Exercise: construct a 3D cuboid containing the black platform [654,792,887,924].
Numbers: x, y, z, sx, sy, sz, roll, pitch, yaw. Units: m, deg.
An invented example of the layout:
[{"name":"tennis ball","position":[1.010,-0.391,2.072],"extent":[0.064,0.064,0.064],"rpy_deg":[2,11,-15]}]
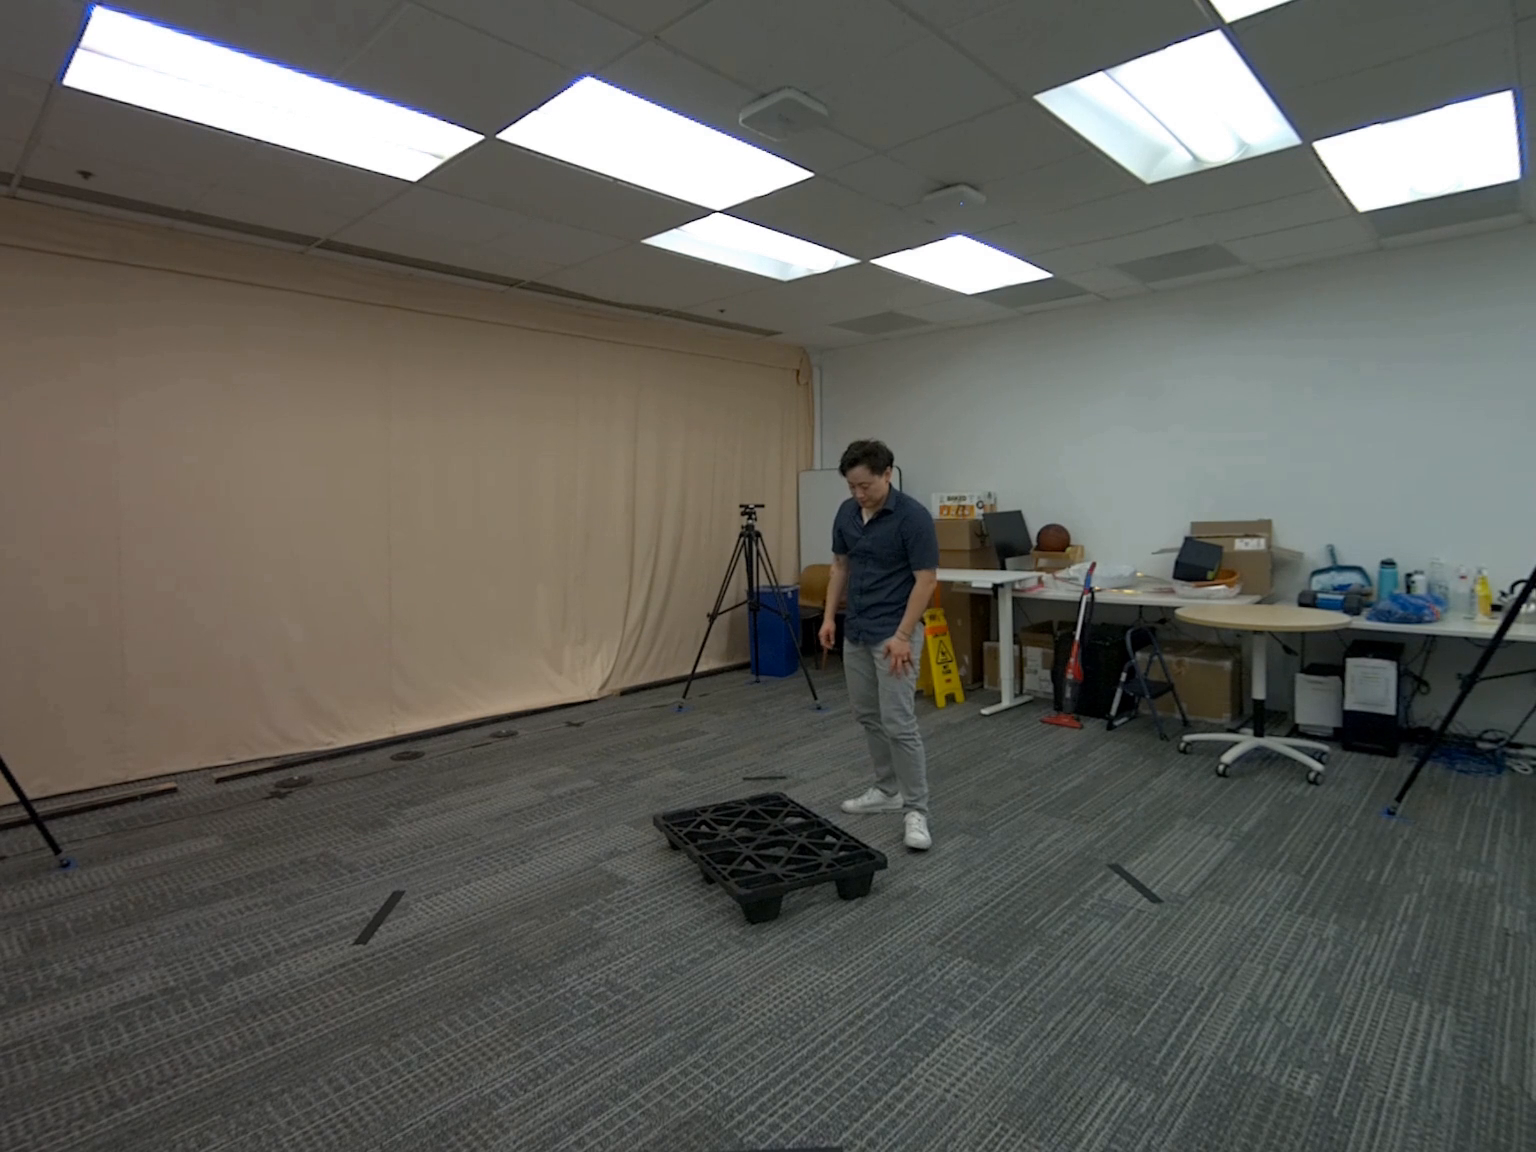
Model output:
[{"name":"black platform","position":[-0.017,1.051,3.215],"extent":[0.590,0.143,0.828],"rpy_deg":[-3,5,-27]}]
